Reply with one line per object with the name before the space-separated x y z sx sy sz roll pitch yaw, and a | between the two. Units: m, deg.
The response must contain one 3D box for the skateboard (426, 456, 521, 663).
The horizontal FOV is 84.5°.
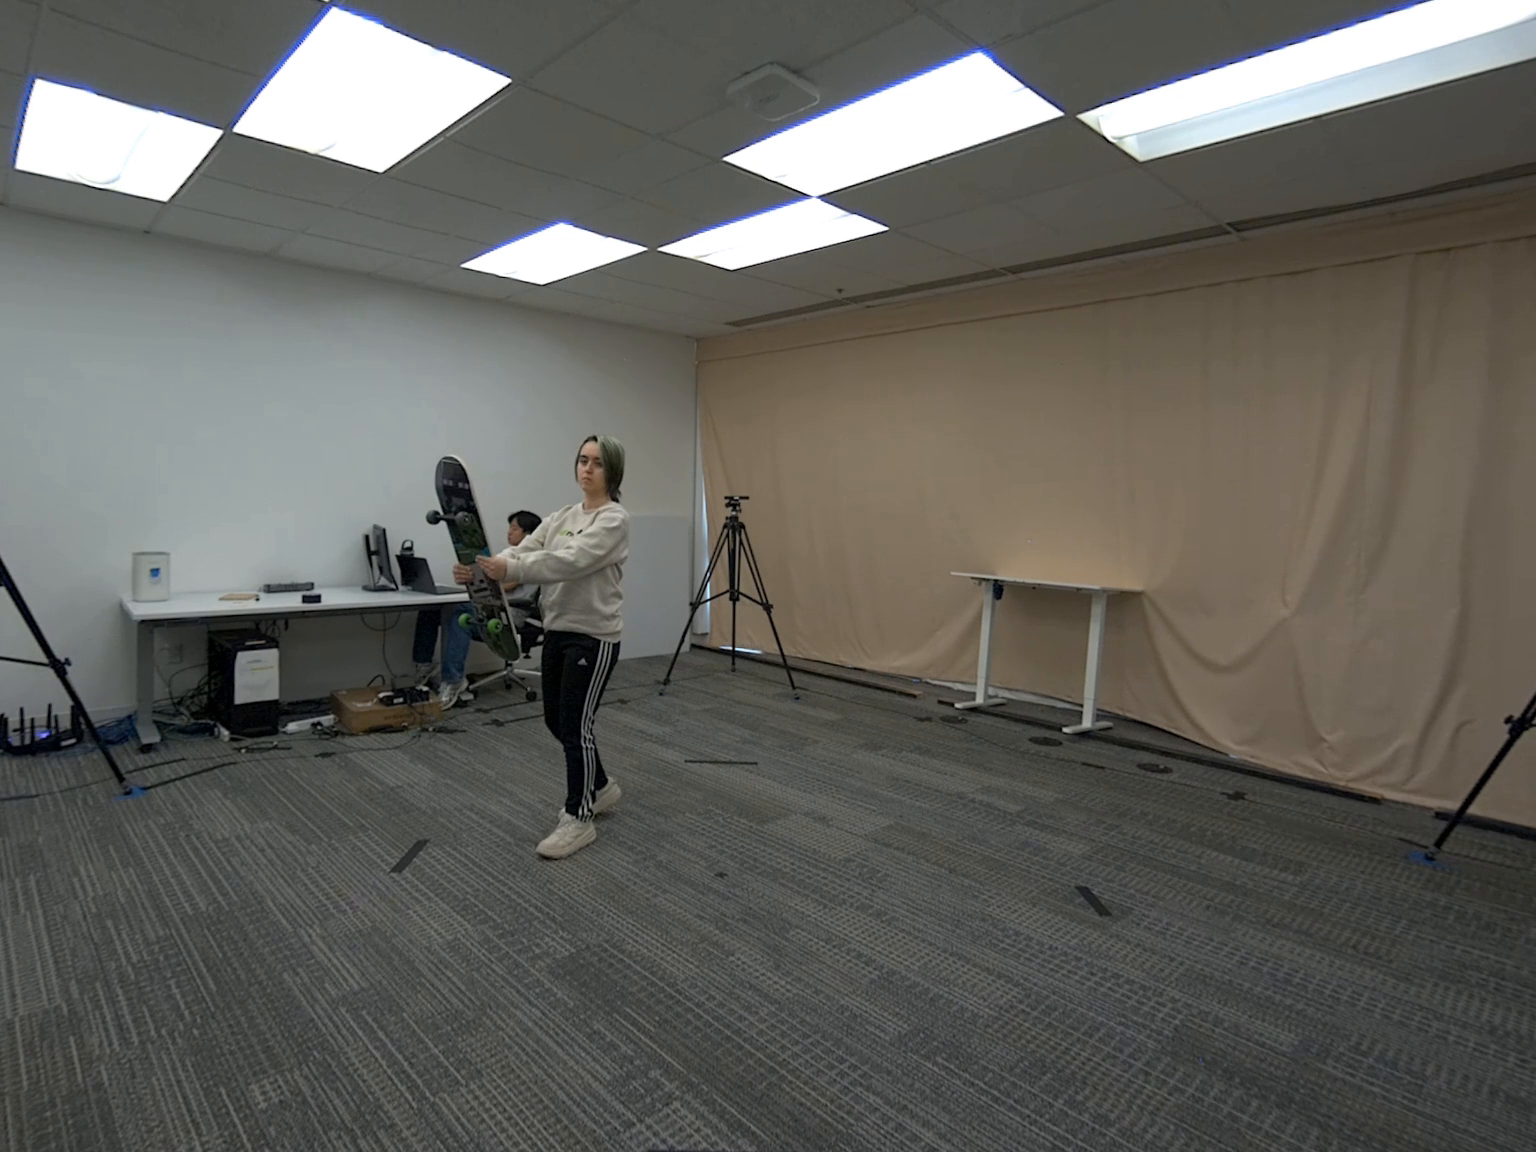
skateboard | -1.033 -0.027 2.920 0.198 0.771 0.110 8 28 32
